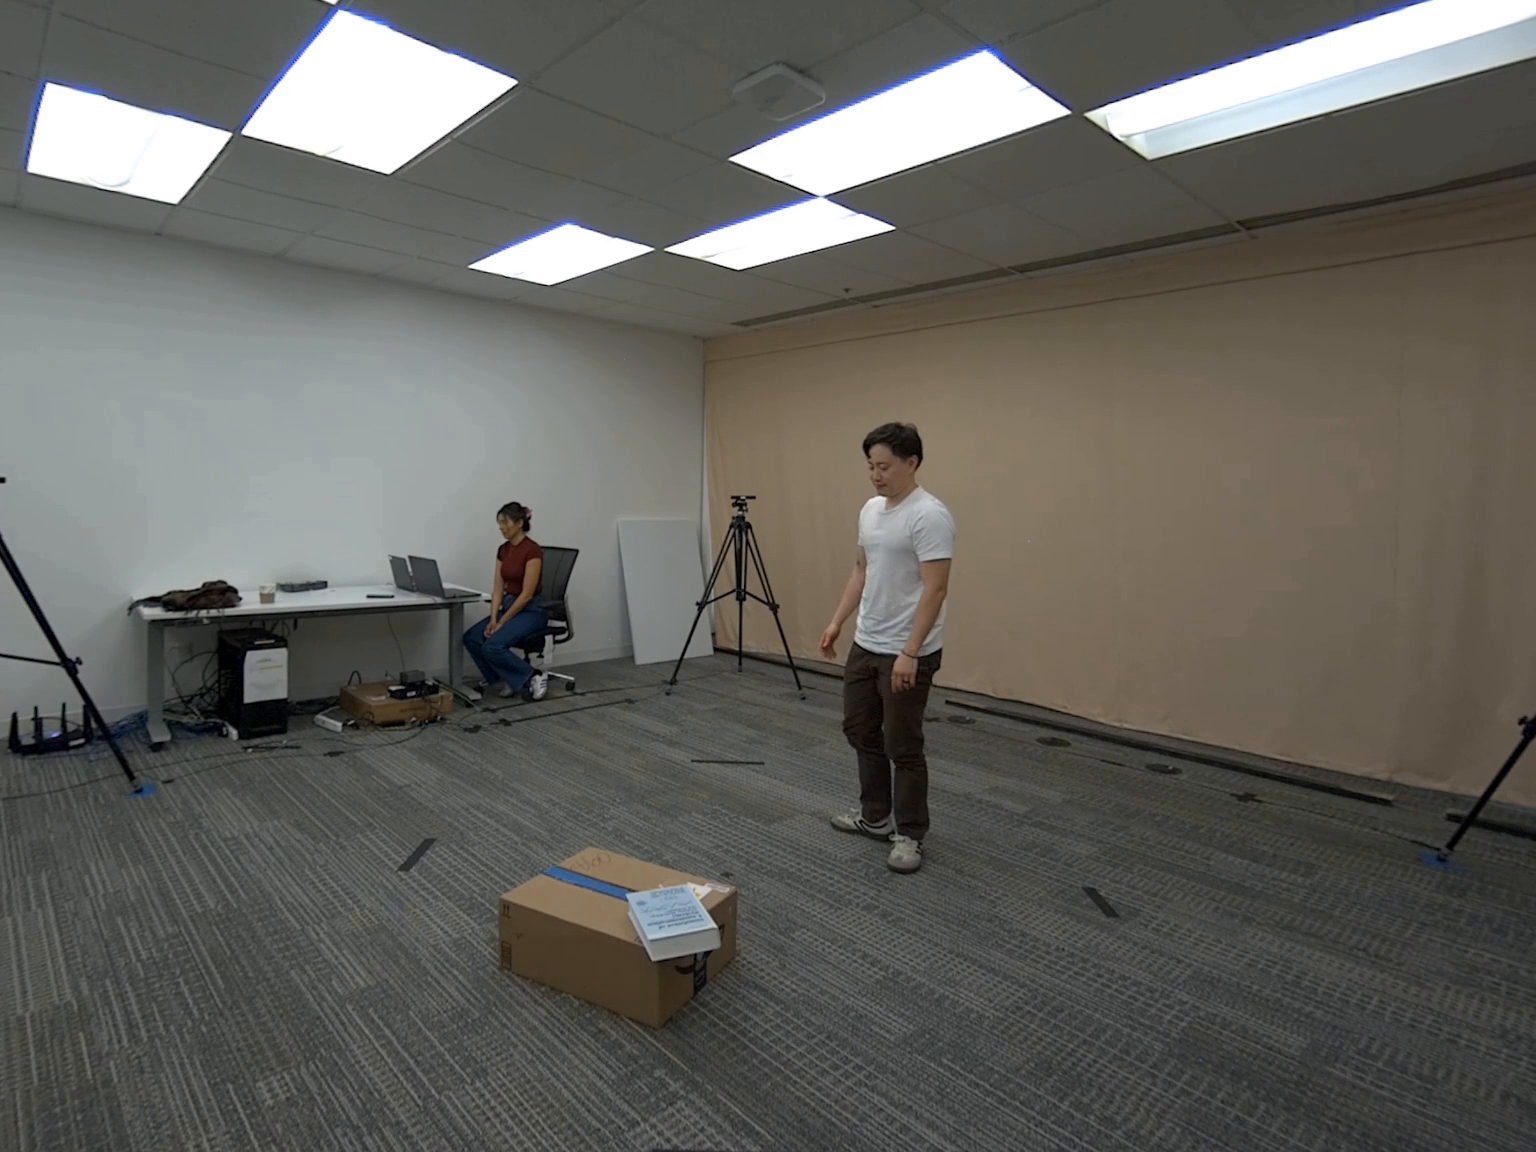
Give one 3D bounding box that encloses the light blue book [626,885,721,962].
[{"bbox_3d":[-0.270,0.932,2.271,0.188,0.059,0.266,-3,6,-21],"label":"light blue book"}]
